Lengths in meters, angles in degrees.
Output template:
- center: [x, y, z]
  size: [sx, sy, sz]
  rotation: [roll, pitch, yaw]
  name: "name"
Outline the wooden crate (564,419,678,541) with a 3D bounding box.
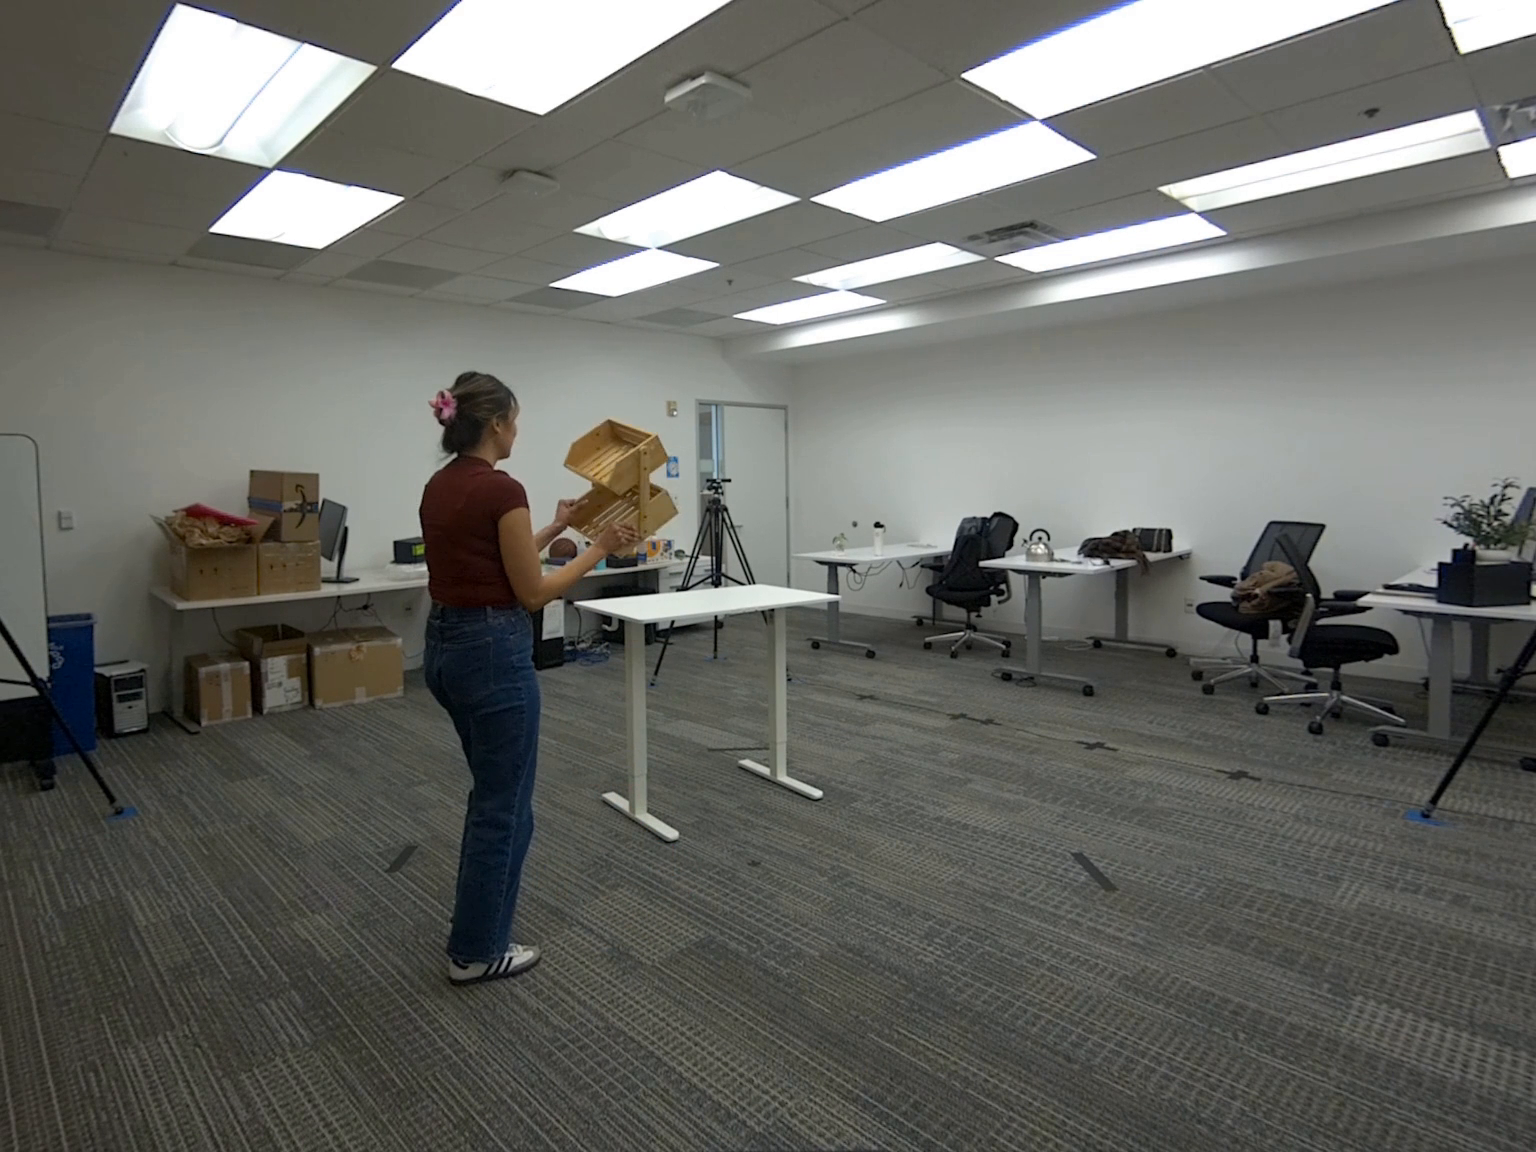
- center: [-0.480, -0.272, 2.619]
  size: [0.301, 0.264, 0.337]
  rotation: [-39, 37, -20]
  name: "wooden crate"
